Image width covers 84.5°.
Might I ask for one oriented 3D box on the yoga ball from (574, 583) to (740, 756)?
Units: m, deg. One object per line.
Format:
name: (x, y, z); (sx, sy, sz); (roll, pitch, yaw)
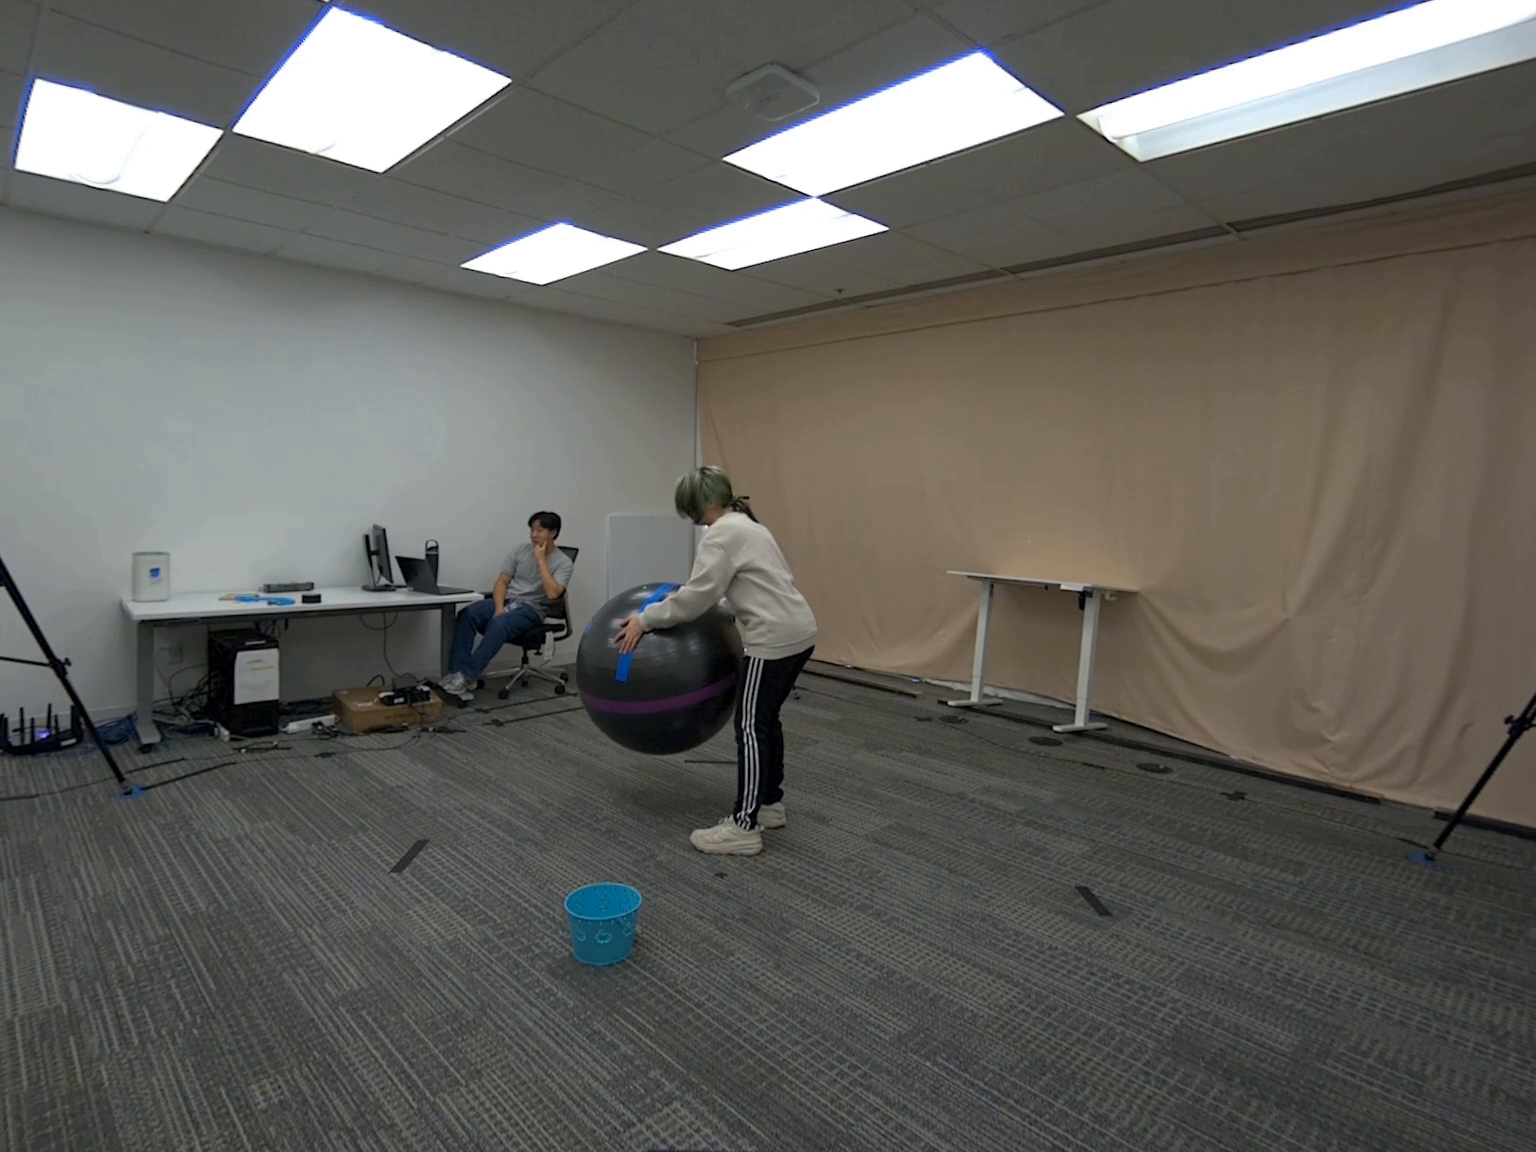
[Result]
yoga ball: (-0.480, 0.412, 3.764); (0.757, 0.756, 0.761); (1, 4, -1)
